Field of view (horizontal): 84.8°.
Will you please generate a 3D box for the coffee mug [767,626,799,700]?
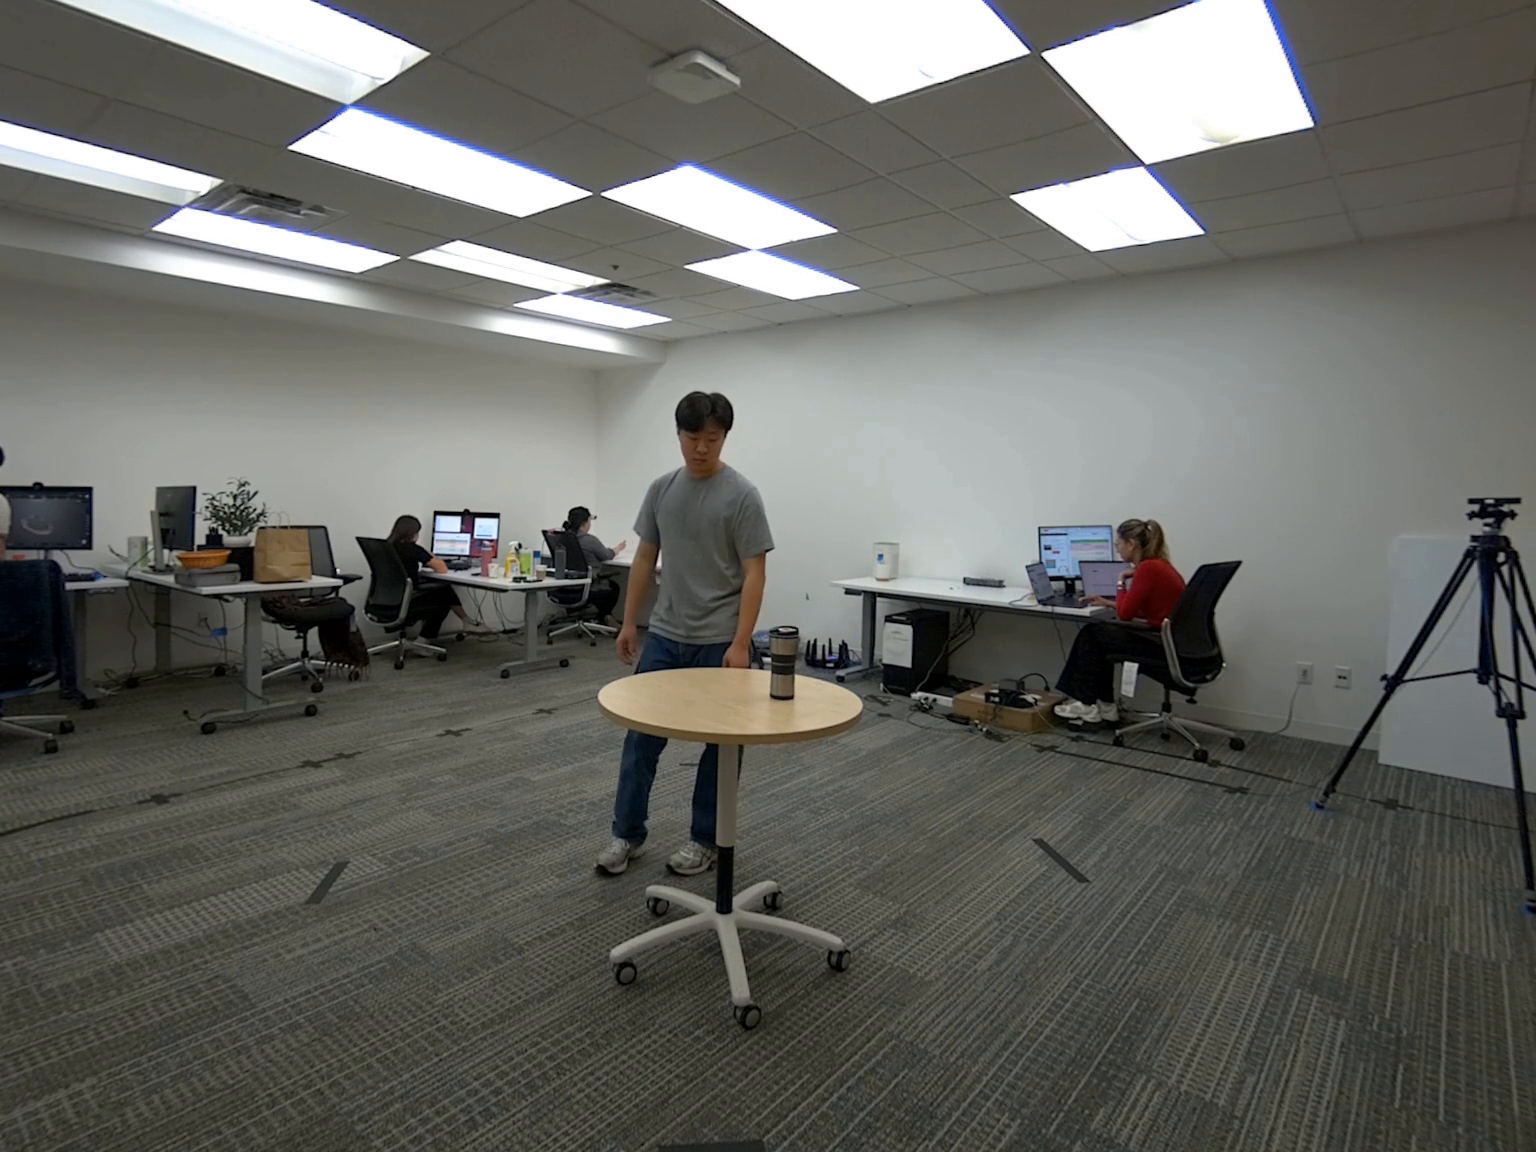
[{"bbox_3d":[0.052,0.255,2.487,0.091,0.202,0.119,1,7,37],"label":"coffee mug"}]
